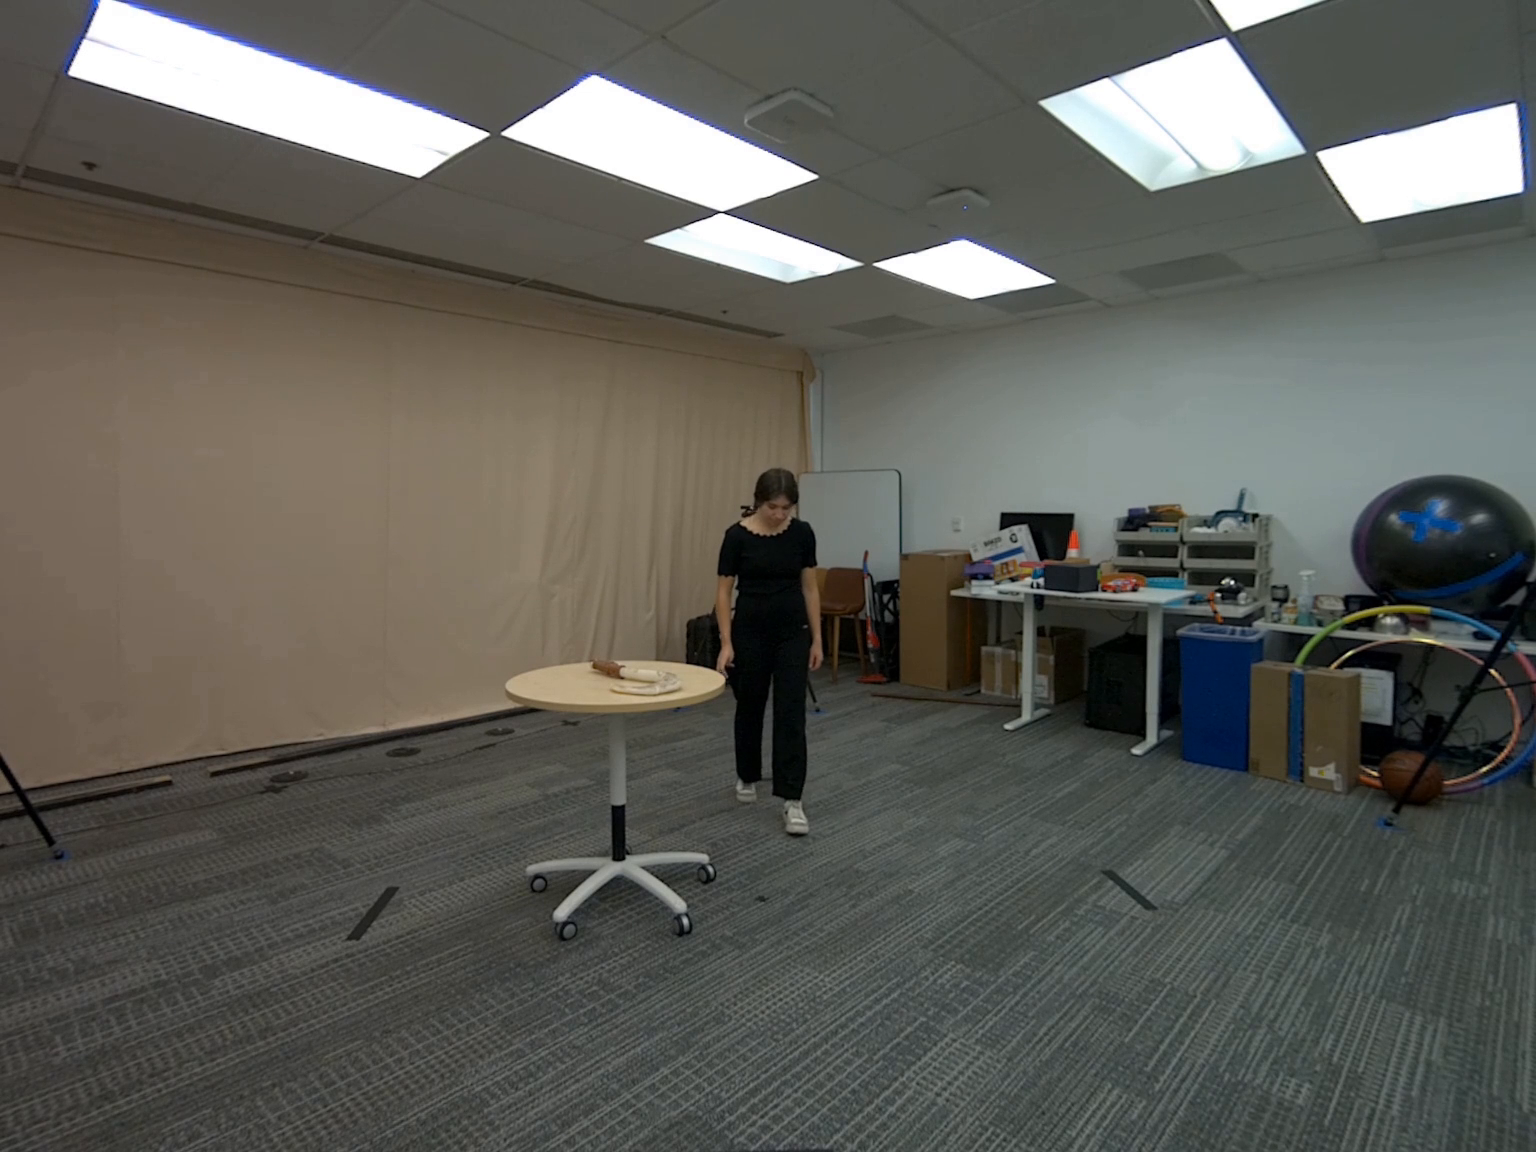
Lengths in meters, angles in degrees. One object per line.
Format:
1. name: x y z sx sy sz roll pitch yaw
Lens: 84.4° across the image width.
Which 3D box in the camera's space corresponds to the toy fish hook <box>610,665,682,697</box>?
1. toy fish hook: -0.505 0.349 2.911 0.217 0.048 0.524 1 4 -42
